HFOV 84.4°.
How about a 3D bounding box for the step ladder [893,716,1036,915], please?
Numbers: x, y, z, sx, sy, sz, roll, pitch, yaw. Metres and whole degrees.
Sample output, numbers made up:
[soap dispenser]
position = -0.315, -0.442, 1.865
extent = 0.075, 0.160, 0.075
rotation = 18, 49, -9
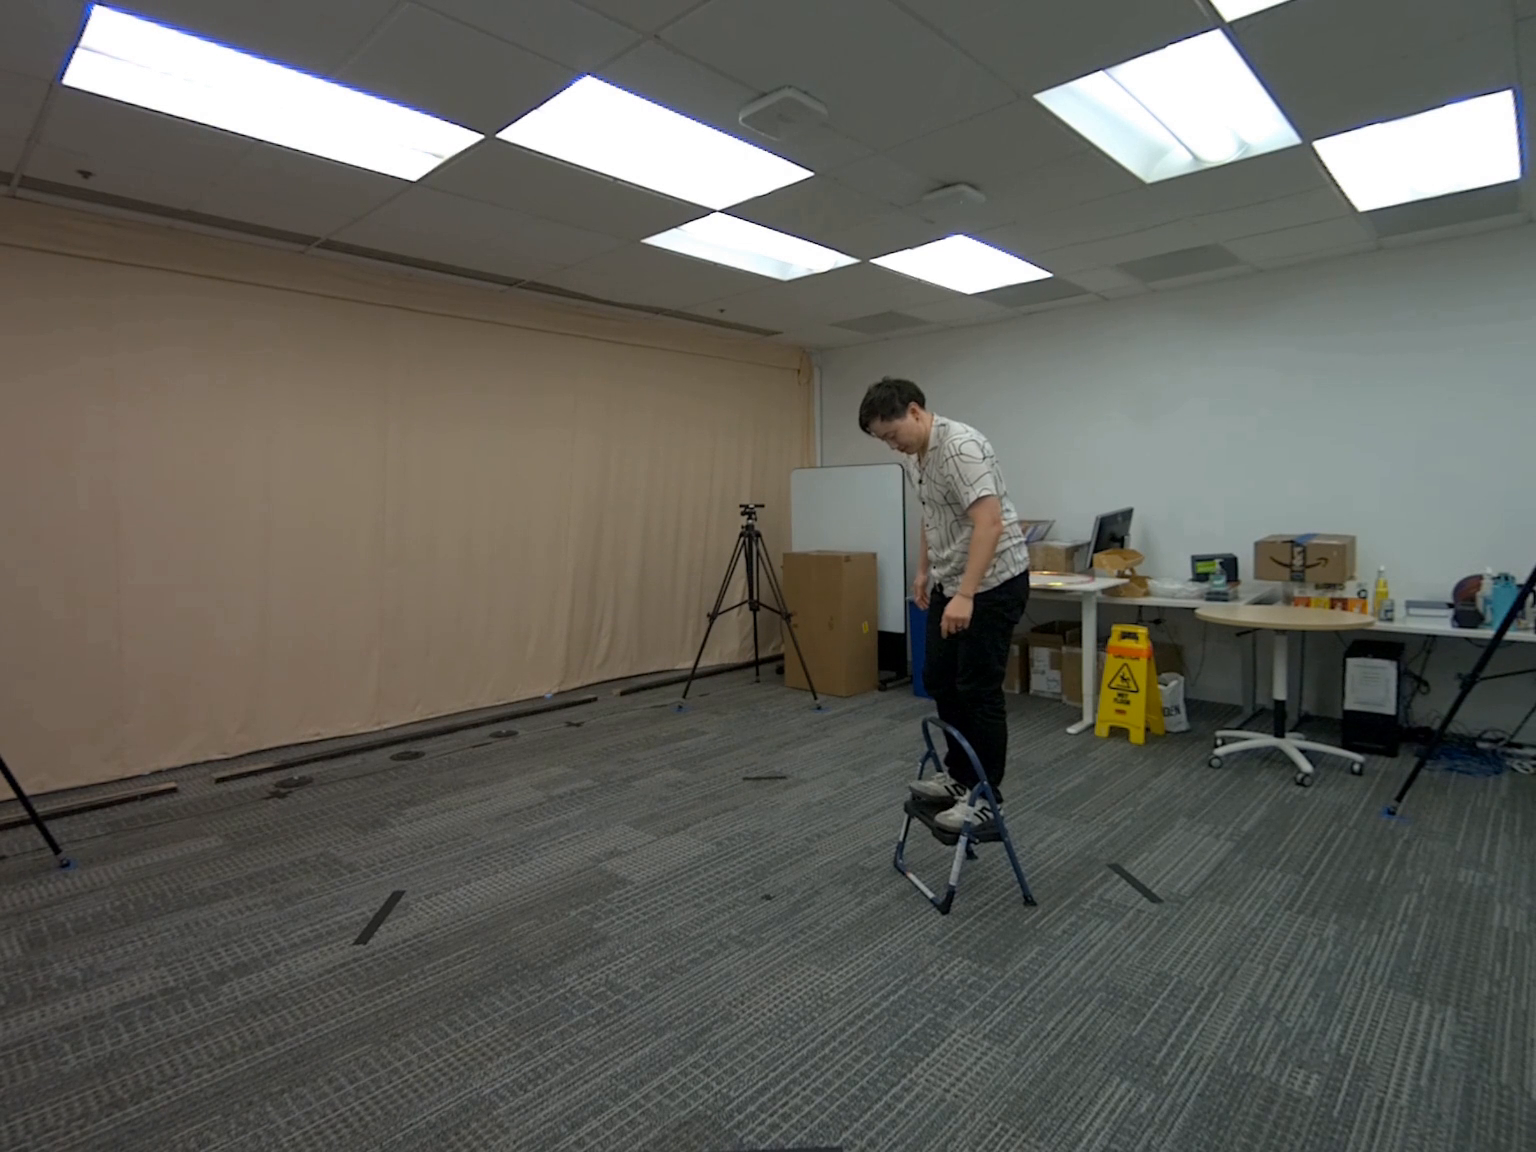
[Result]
[step ladder]
position = 0.699, 0.823, 3.045
extent = 0.344, 0.605, 0.438
rotation = -1, 4, -14
